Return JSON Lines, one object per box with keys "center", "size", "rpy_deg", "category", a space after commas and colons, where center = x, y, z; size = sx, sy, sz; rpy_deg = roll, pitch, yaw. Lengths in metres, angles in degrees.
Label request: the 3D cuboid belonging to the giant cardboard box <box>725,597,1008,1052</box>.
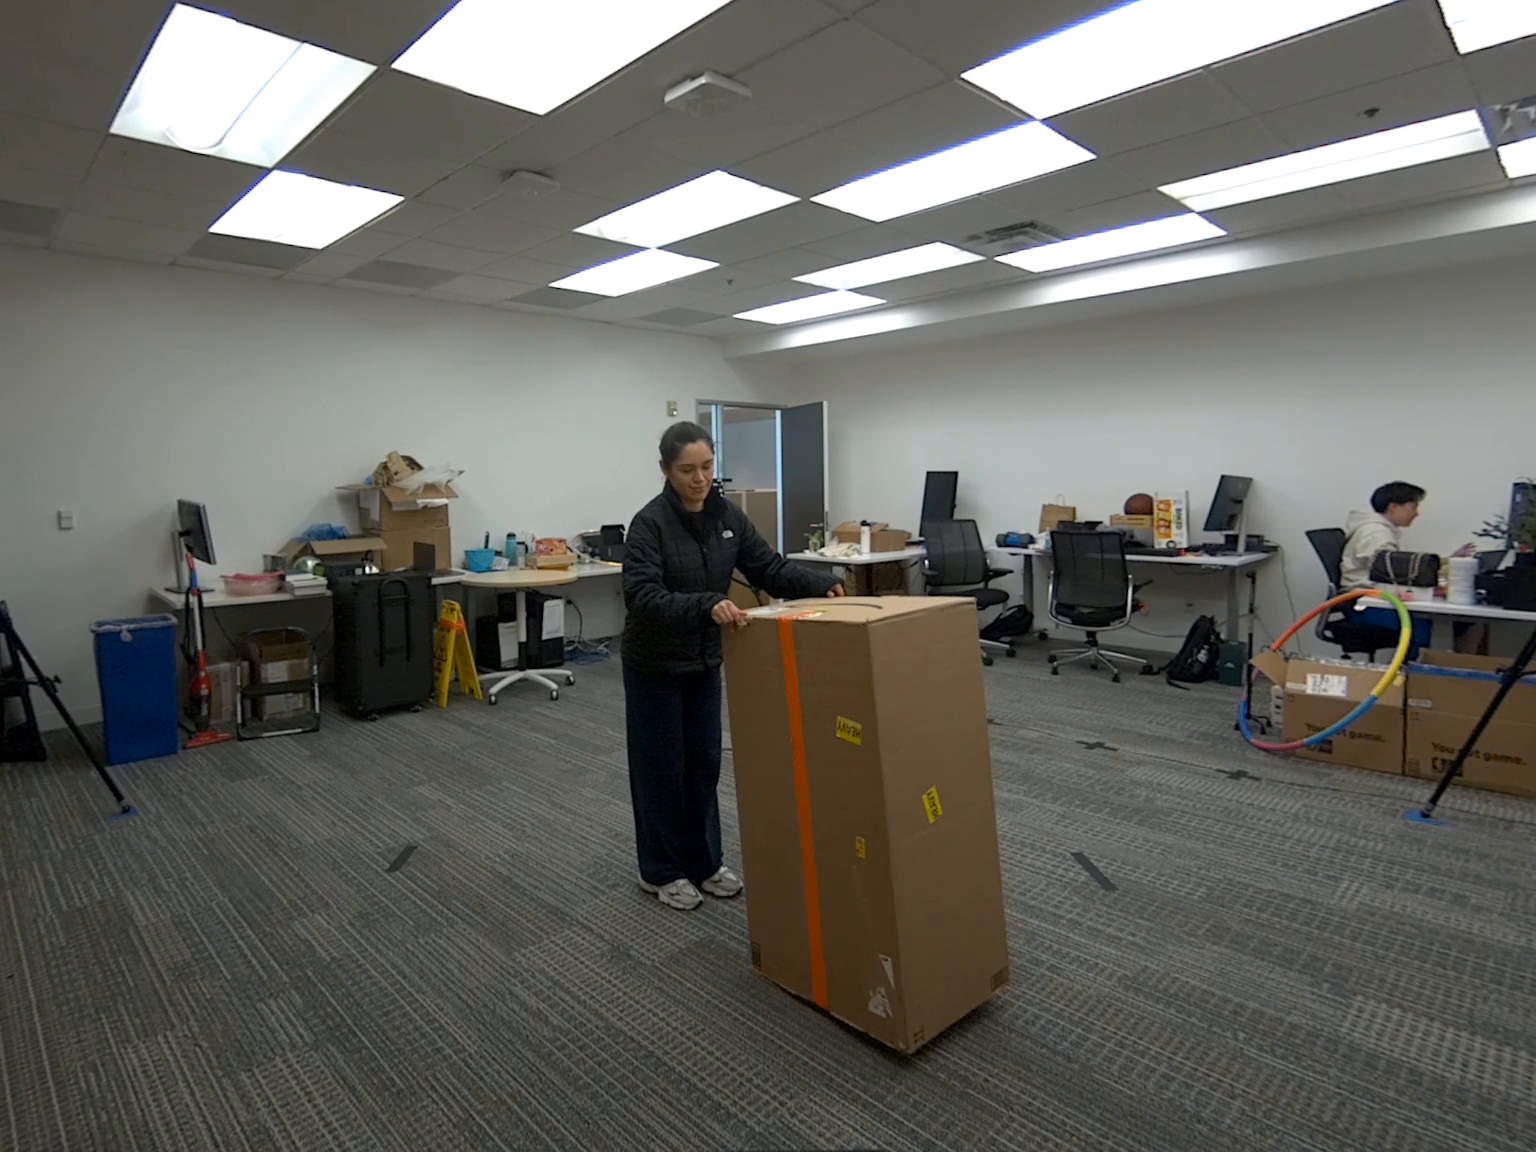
{"center": [0.250, 0.595, 2.355], "size": [0.436, 1.026, 0.599], "rpy_deg": [-7, 2, -38], "category": "giant cardboard box"}
